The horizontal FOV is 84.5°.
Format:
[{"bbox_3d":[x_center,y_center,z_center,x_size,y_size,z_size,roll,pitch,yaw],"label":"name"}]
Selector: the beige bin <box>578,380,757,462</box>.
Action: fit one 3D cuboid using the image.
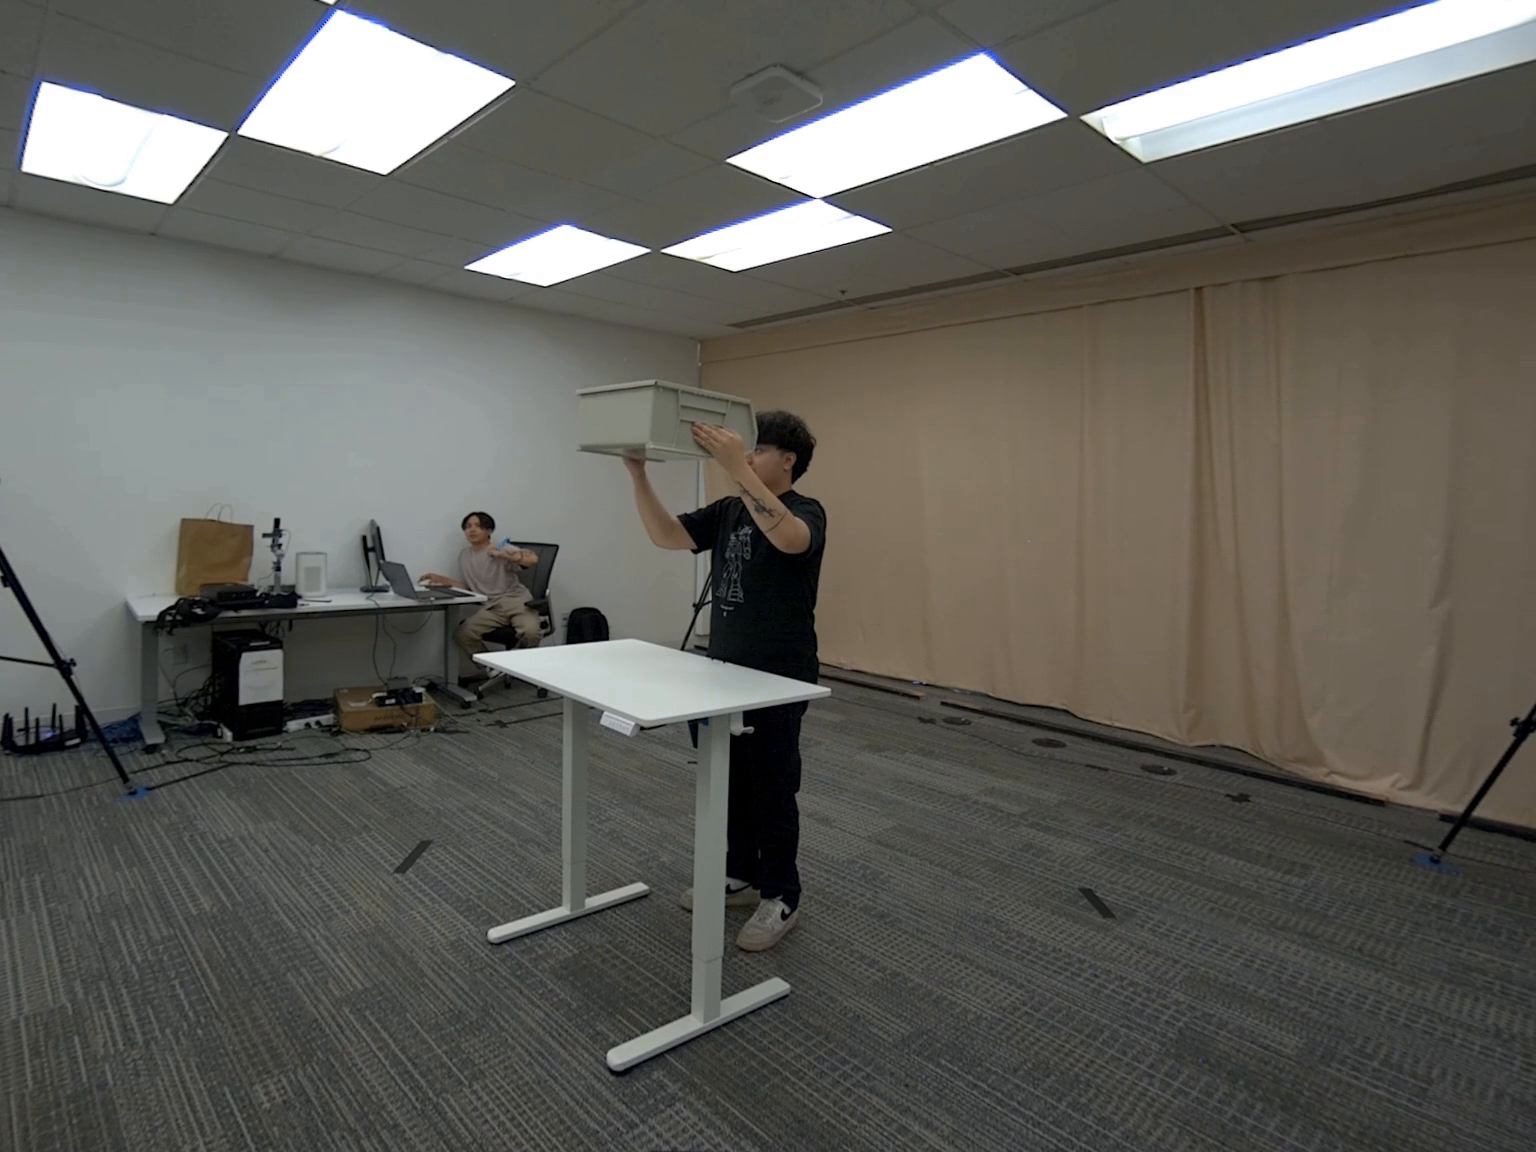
[{"bbox_3d":[-0.313,-0.437,2.482,0.368,0.189,0.433,1,4,-41],"label":"beige bin"}]
